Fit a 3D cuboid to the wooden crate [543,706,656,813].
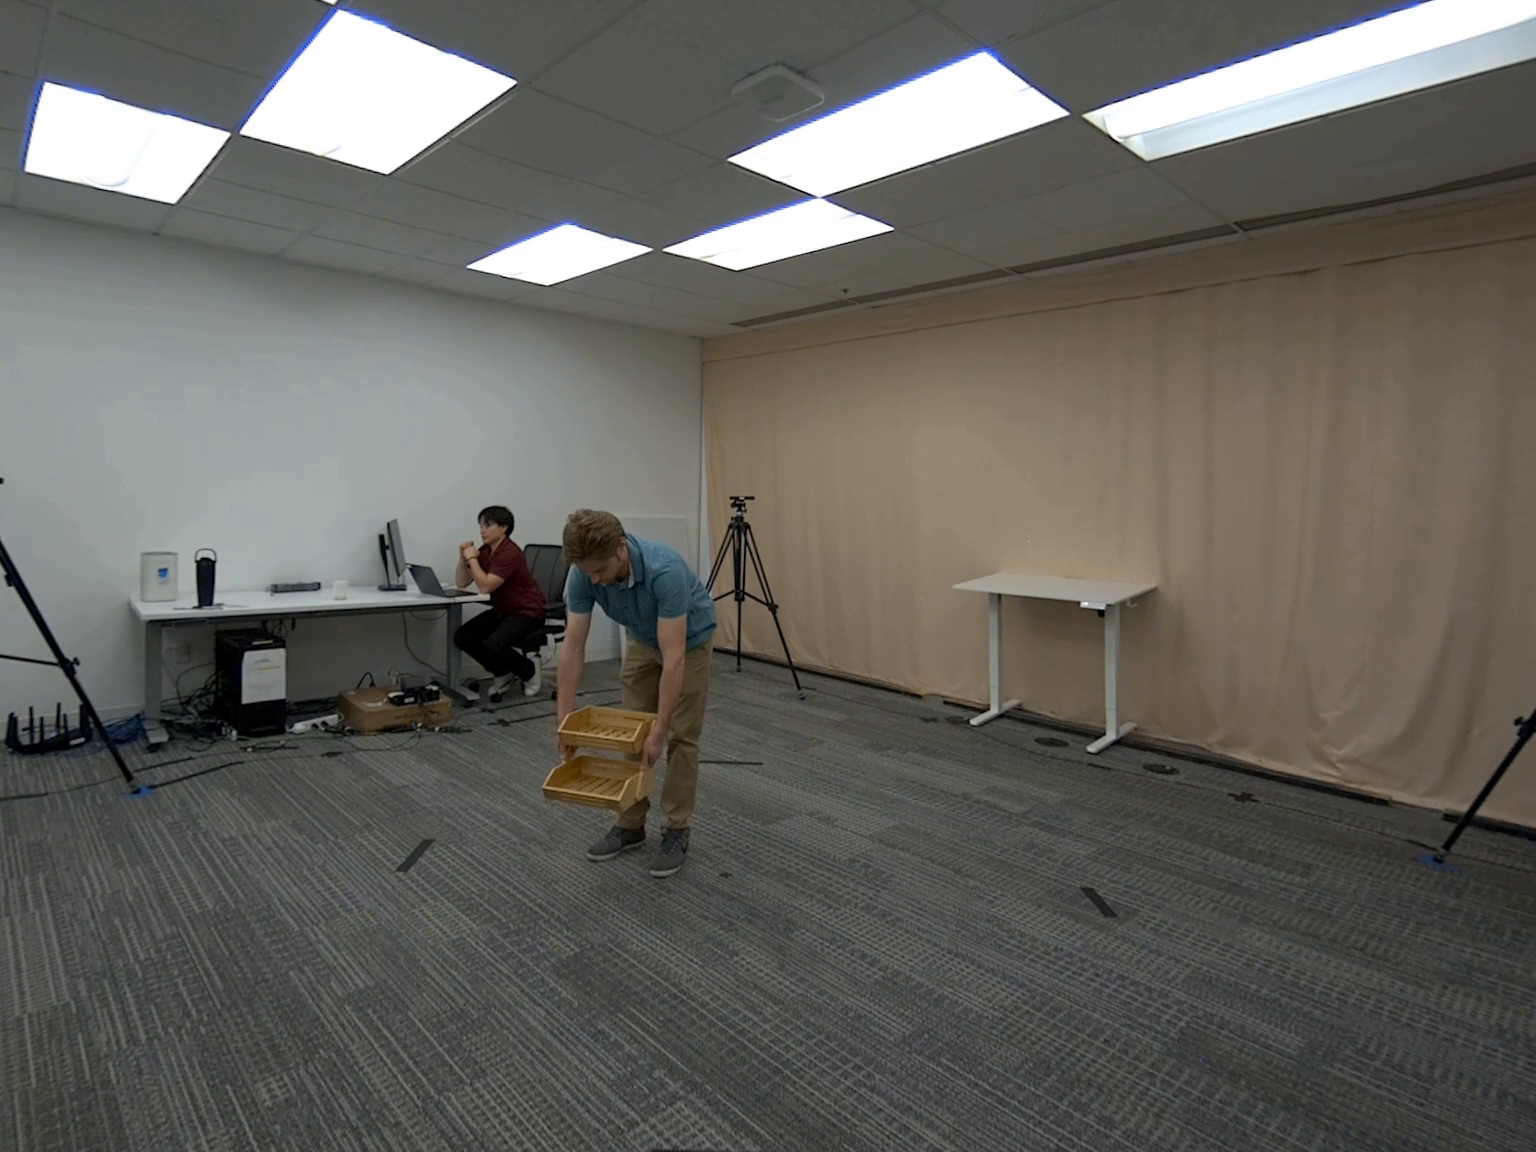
[{"bbox_3d":[-0.585,0.630,2.934,0.330,0.273,0.297,3,3,21],"label":"wooden crate"}]
